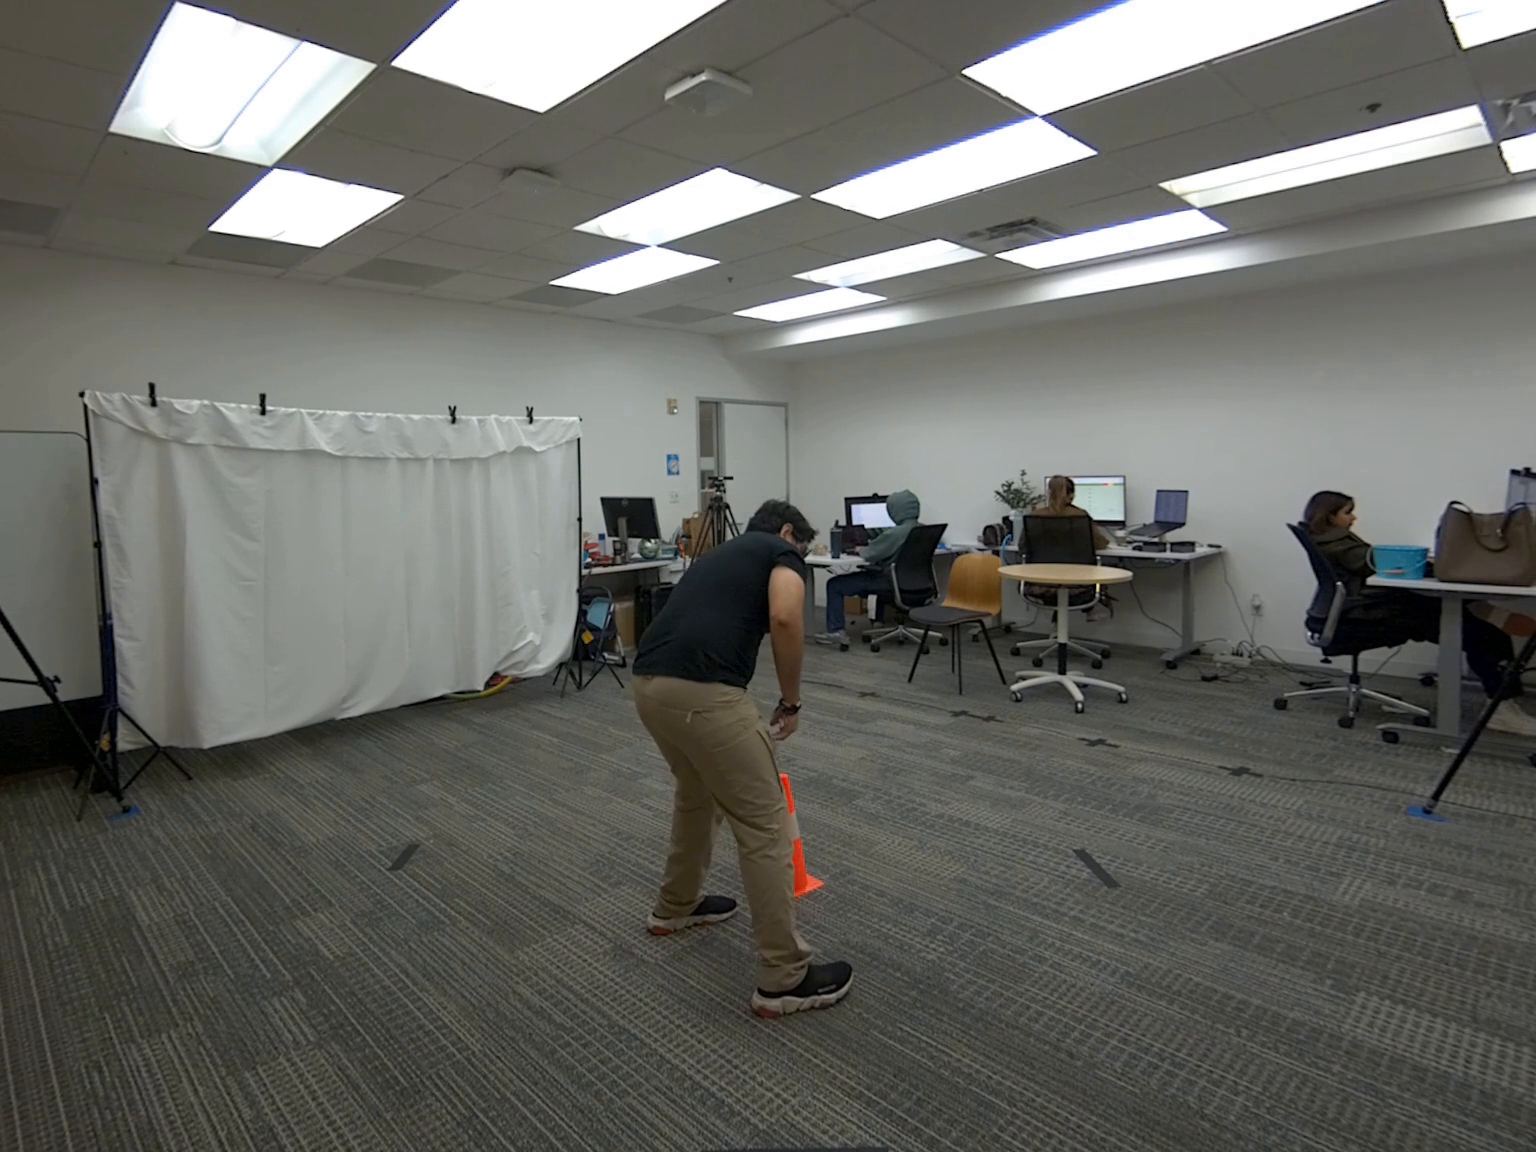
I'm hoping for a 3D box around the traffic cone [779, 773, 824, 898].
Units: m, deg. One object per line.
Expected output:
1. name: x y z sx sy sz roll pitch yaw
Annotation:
1. traffic cone: 0.061 0.872 2.922 0.200 0.382 0.209 -5 5 -36
